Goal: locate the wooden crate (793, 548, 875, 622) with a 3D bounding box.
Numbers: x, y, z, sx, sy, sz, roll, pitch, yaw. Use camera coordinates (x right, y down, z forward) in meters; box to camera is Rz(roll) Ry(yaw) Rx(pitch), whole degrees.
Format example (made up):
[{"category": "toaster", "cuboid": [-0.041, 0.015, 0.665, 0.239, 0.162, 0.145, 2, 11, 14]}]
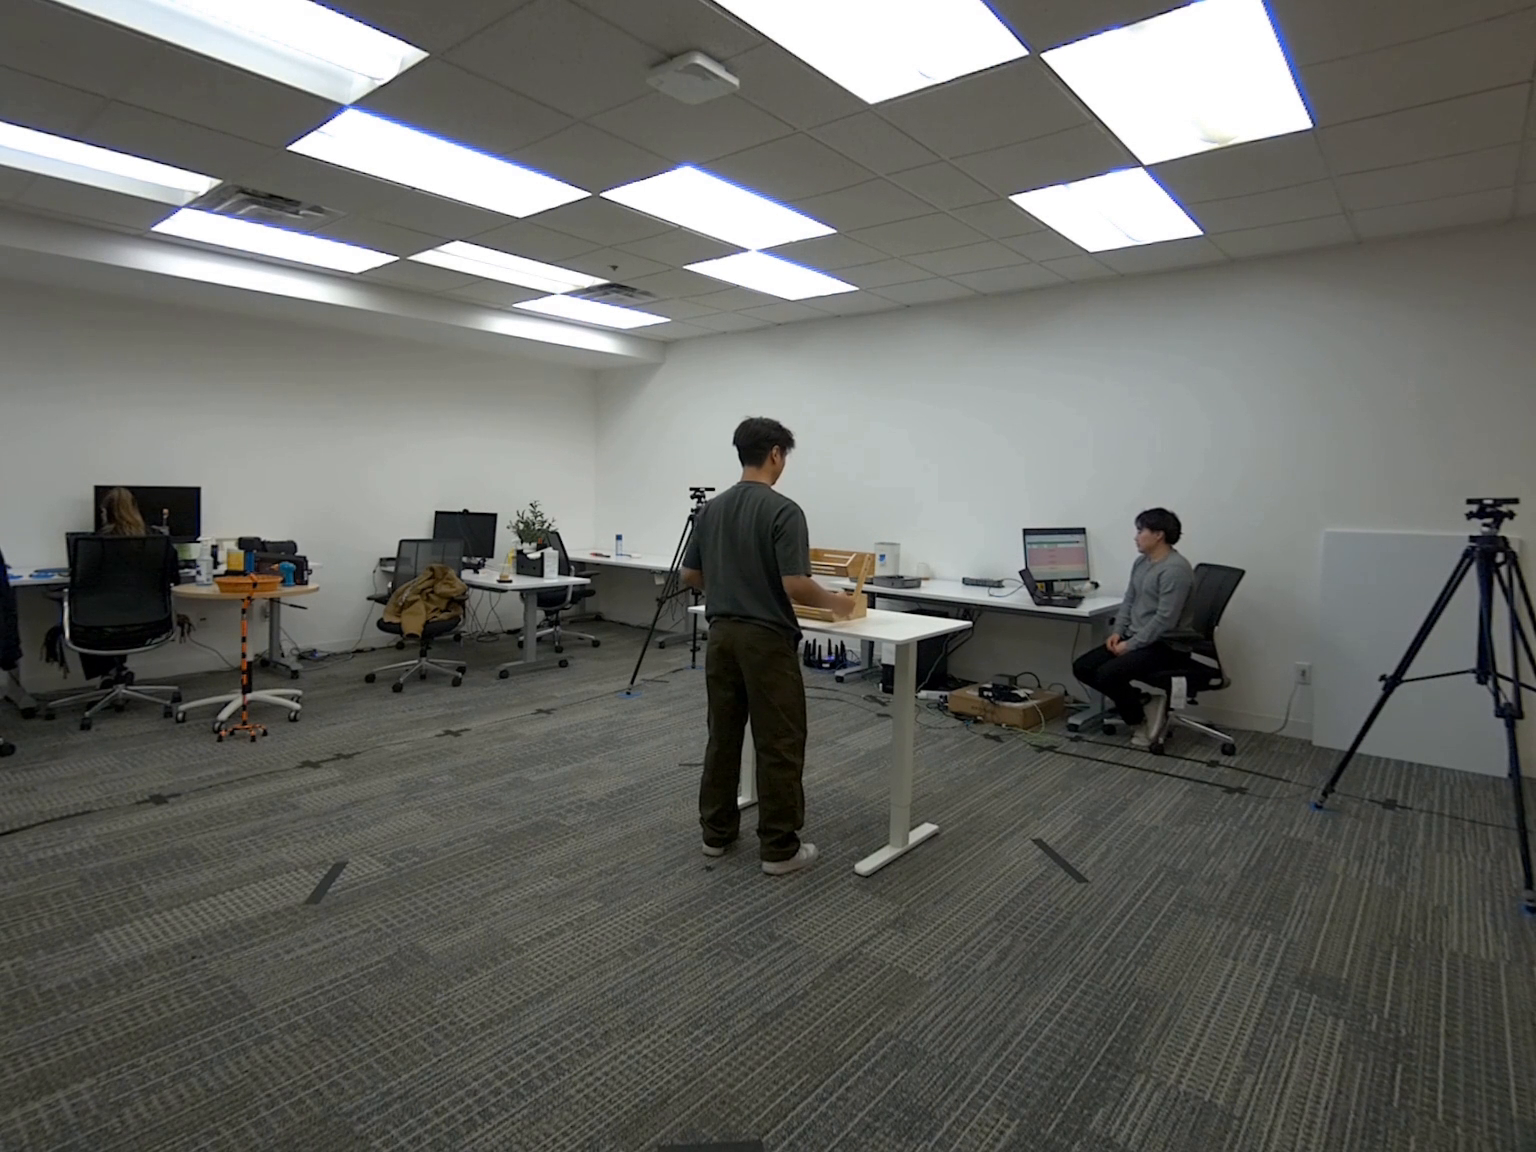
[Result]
[{"category": "wooden crate", "cuboid": [0.215, 0.024, 3.473, 0.335, 0.272, 0.293, 6, 6, 39]}]
